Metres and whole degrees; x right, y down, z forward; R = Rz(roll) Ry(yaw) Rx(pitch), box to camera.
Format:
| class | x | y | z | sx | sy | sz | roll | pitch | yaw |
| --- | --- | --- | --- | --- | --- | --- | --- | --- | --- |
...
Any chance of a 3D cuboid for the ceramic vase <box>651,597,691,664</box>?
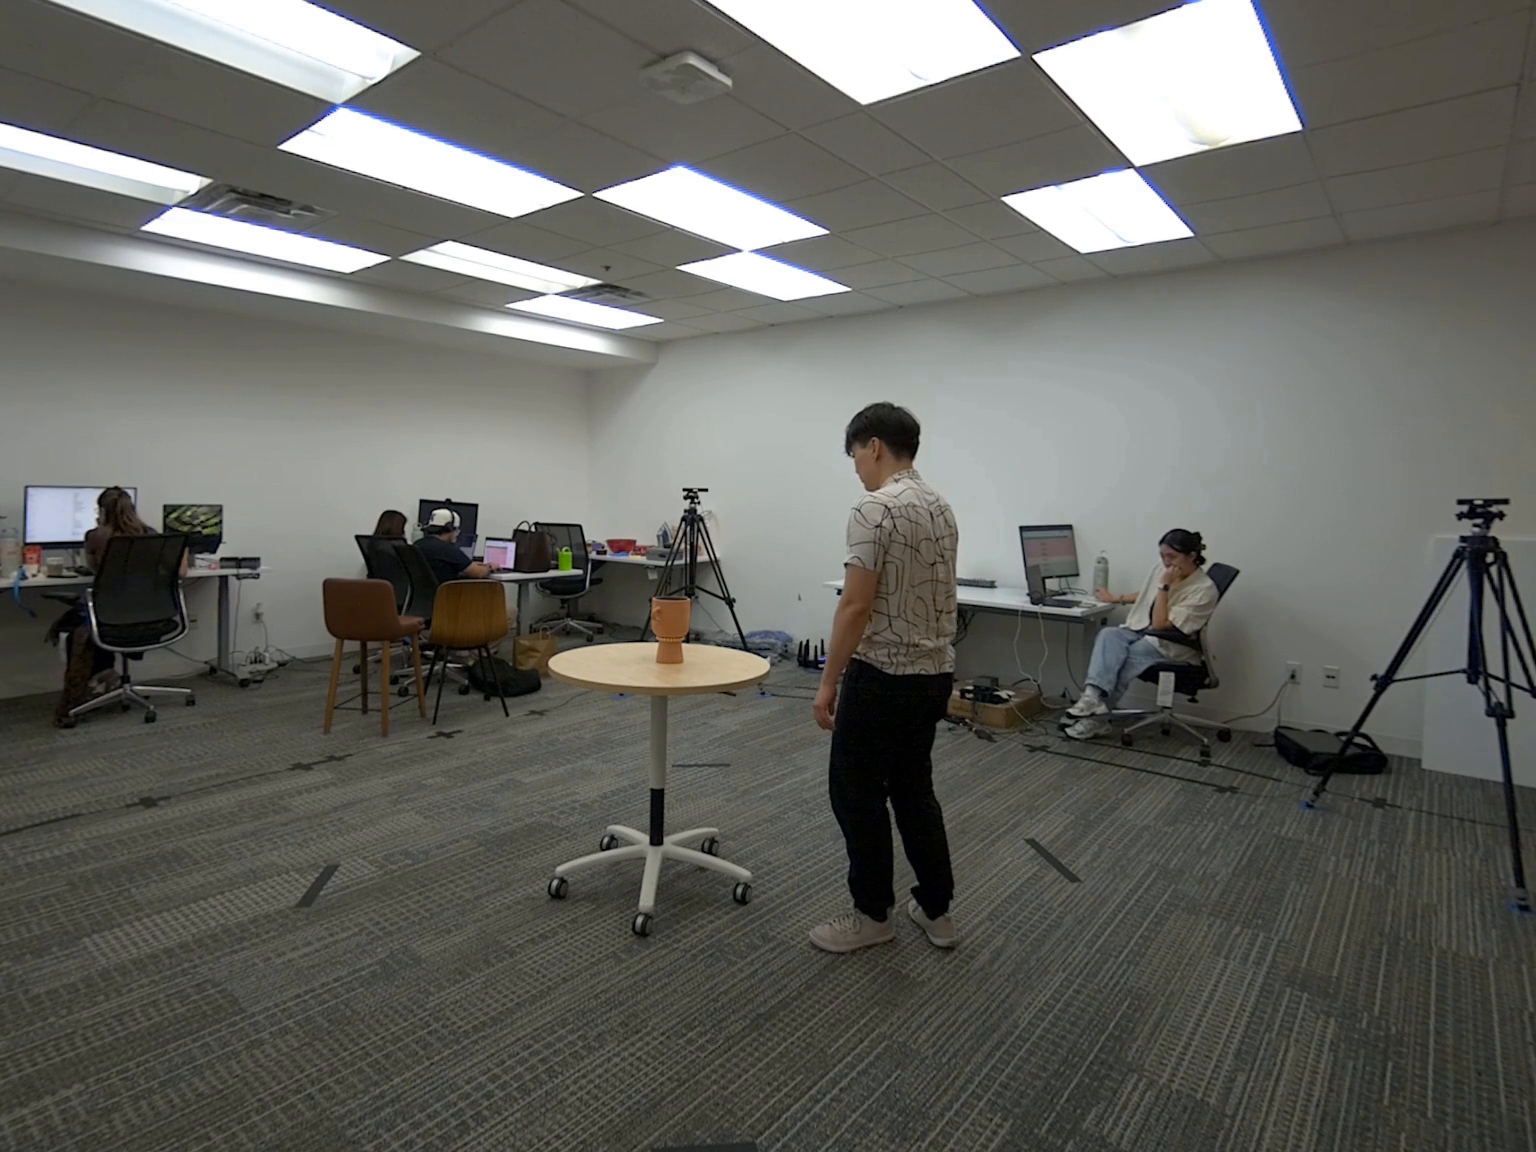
| class | x | y | z | sx | sy | sz | roll | pitch | yaw |
| --- | --- | --- | --- | --- | --- | --- | --- | --- | --- |
| ceramic vase | -0.349 | 0.188 | 2.972 | 0.156 | 0.219 | 0.137 | 0 | 4 | -15 |
